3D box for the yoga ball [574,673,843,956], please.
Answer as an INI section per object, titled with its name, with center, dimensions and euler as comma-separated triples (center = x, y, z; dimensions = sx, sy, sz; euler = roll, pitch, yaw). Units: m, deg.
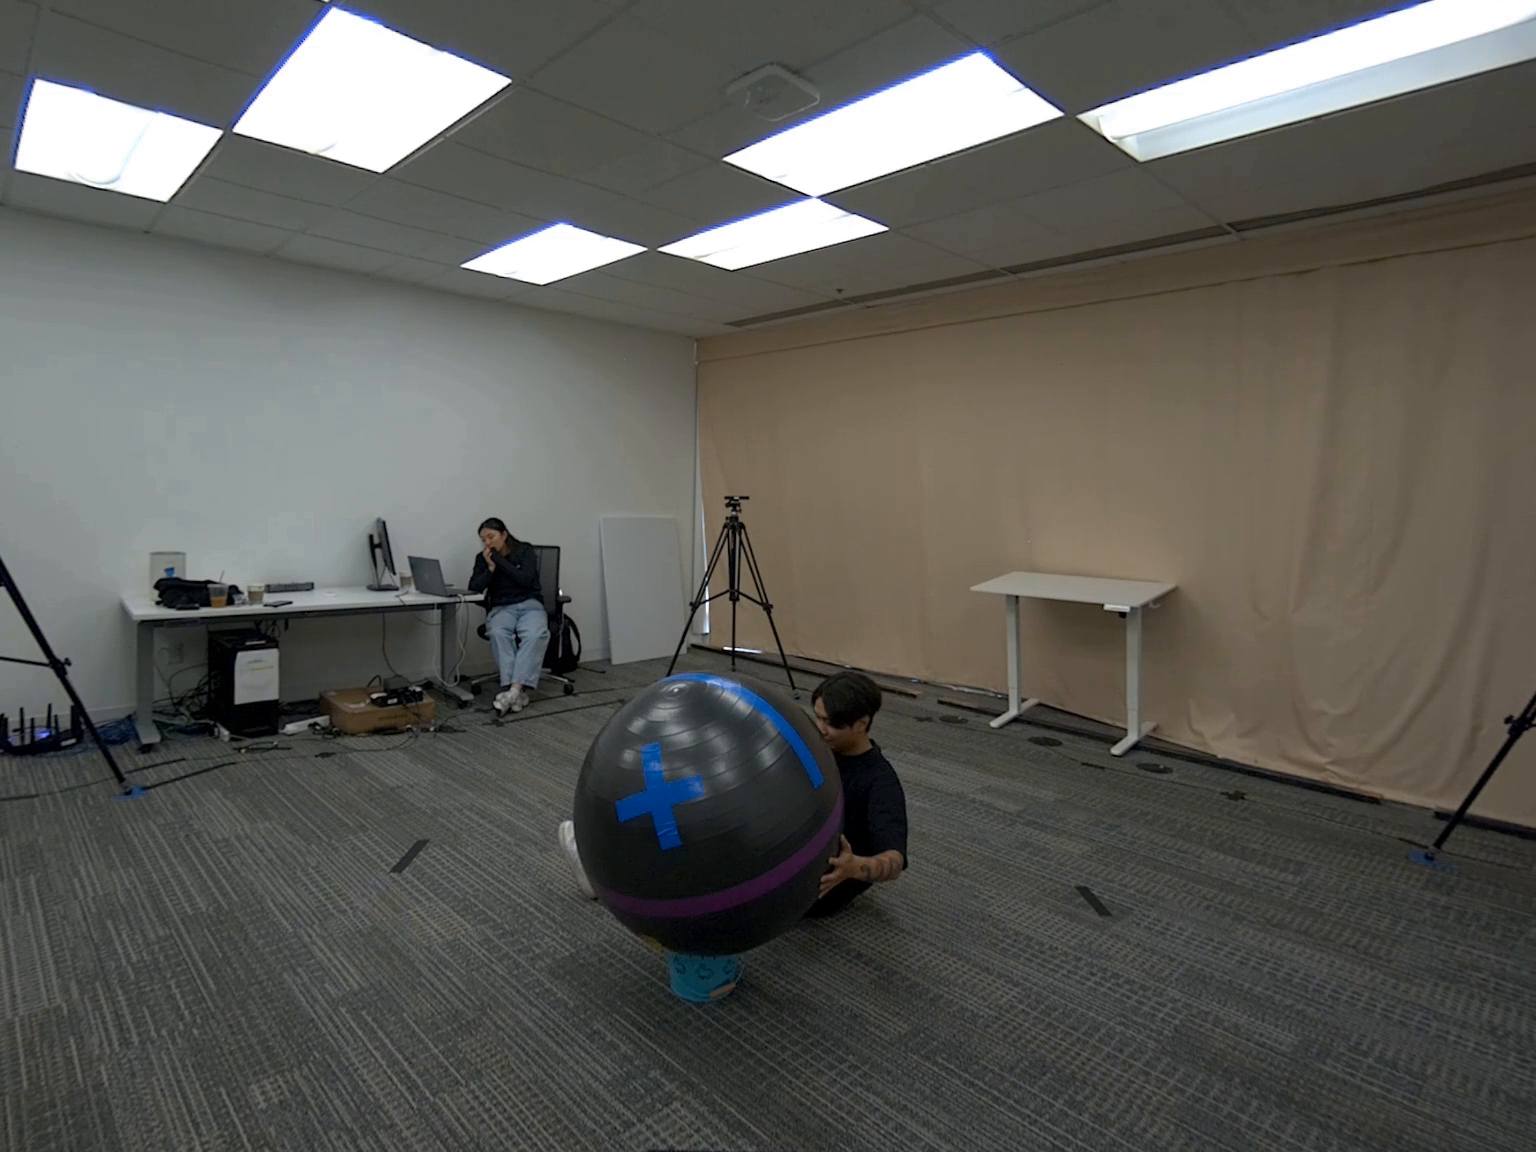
[yoga ball]
center = -0.177, 0.675, 2.356
dimensions = 0.757, 0.756, 0.761
euler = 1, 4, -1
